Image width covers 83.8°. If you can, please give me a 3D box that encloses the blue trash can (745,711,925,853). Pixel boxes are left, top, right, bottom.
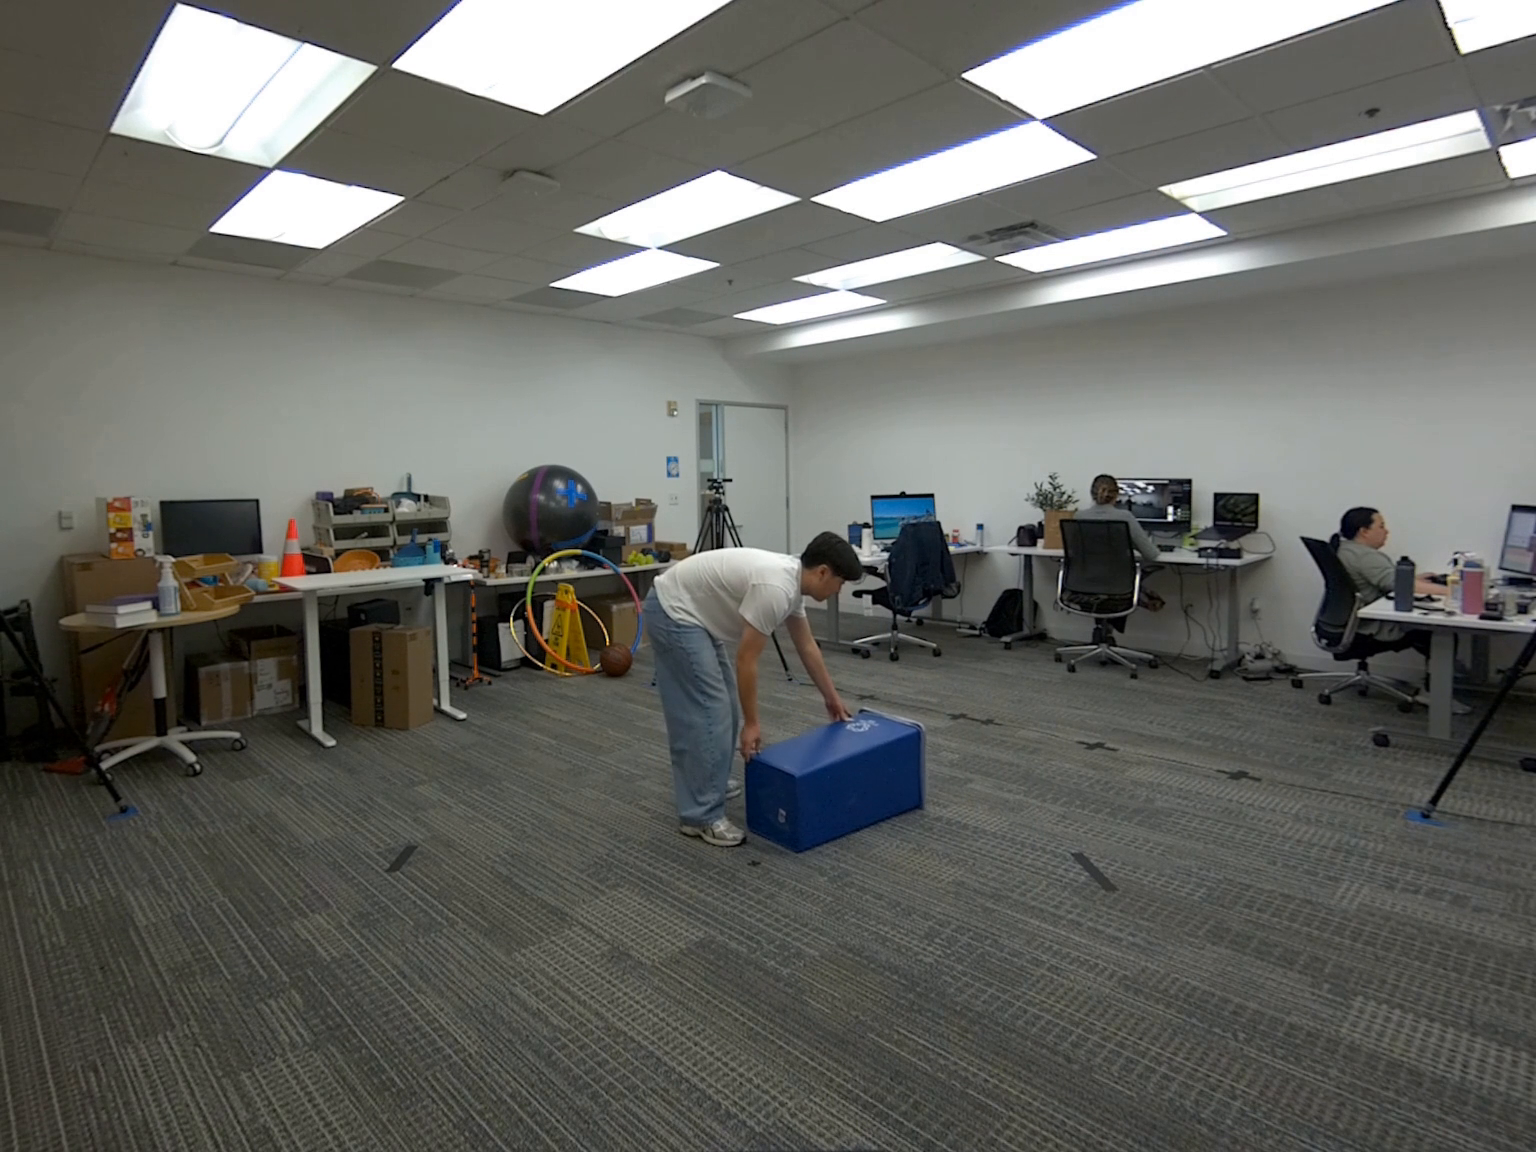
[{"bbox_3d":[0.282,0.830,3.485,0.696,0.375,0.386,-10,11,-39],"label":"blue trash can"}]
